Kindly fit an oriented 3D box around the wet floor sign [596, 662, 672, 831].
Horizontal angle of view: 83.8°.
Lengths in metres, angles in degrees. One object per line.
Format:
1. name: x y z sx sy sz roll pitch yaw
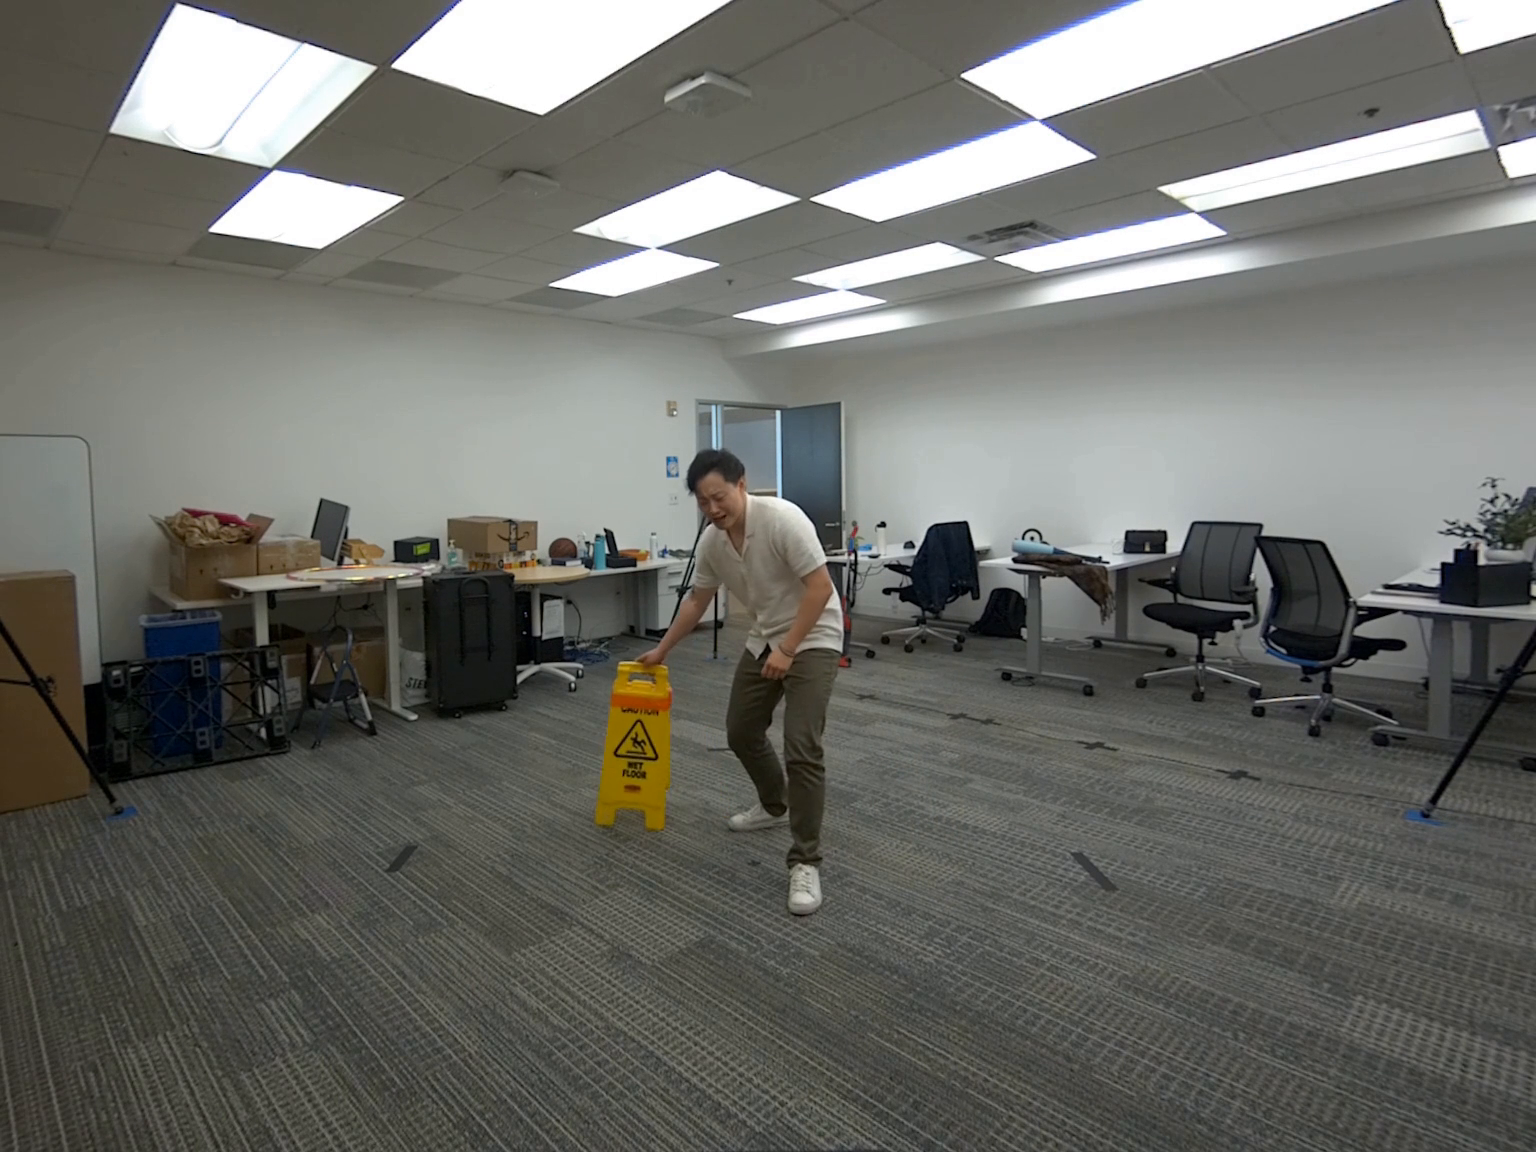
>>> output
1. wet floor sign: -0.523 0.663 3.468 0.282 0.637 0.294 6 18 -1
